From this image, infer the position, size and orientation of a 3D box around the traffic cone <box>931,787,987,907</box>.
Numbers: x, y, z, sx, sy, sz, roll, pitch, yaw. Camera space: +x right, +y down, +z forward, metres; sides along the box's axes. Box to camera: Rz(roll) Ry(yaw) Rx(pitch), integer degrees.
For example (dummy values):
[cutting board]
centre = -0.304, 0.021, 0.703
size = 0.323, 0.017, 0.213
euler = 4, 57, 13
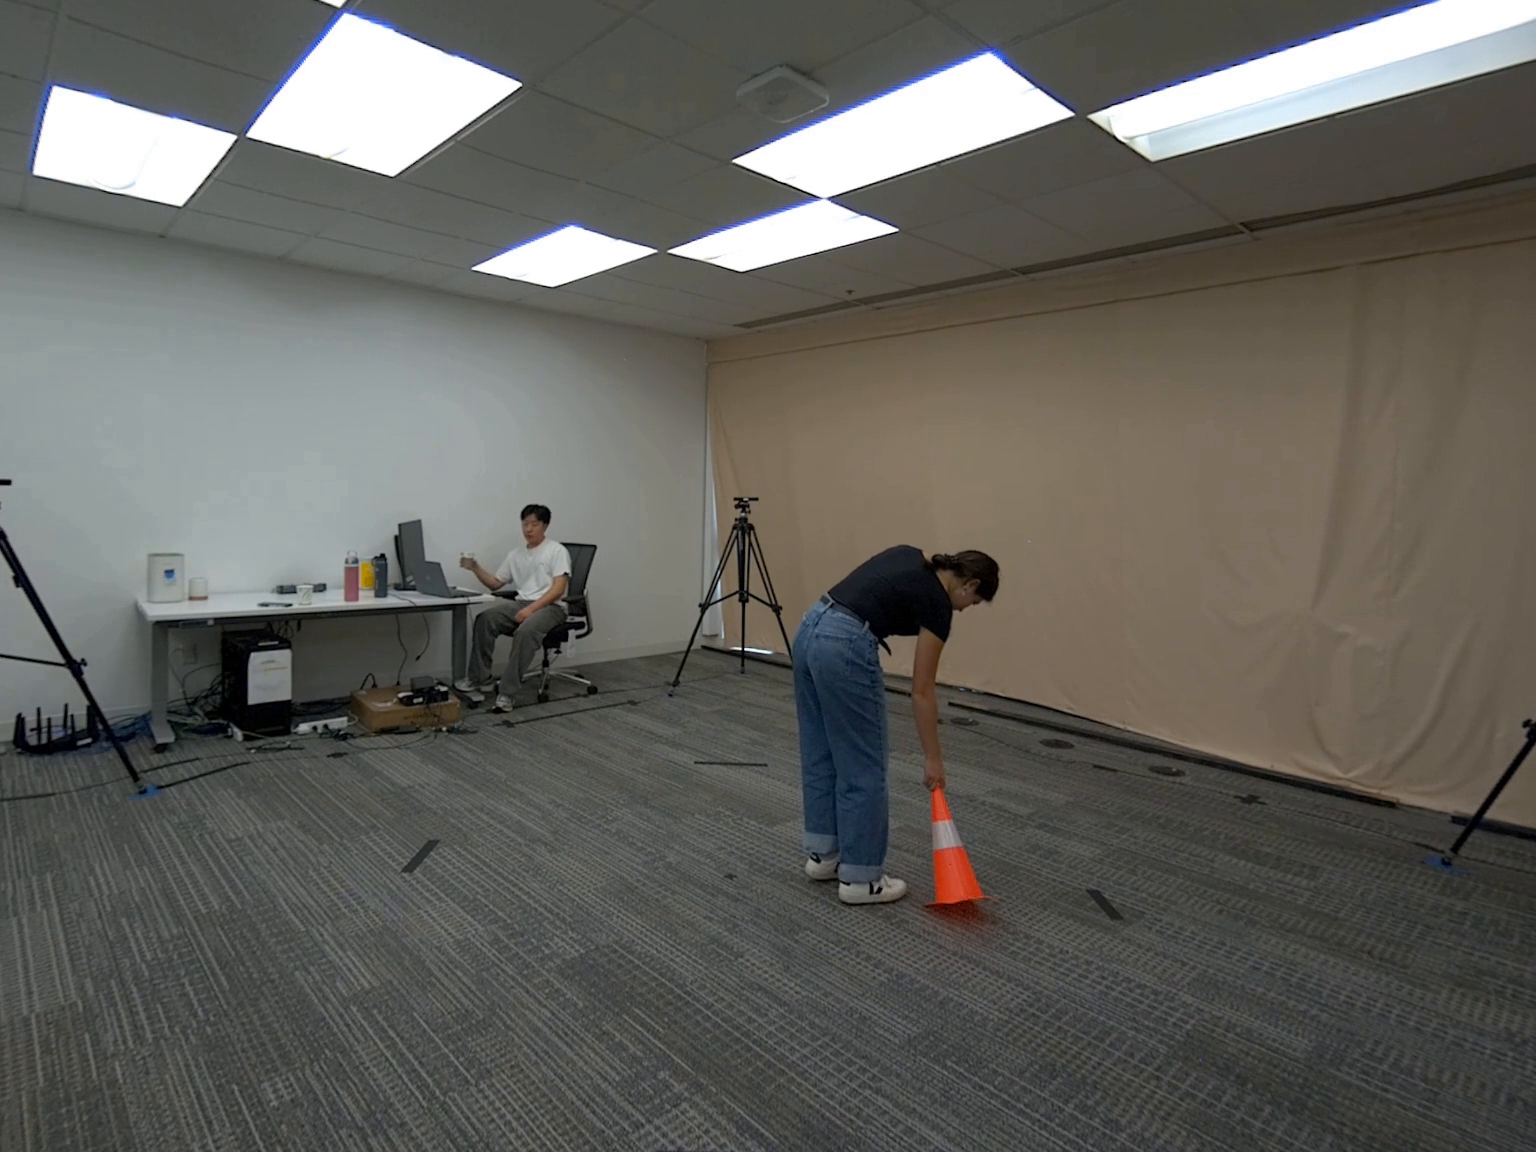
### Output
[traffic cone]
centre = 0.618, 0.937, 2.925
size = 0.201, 0.391, 0.203
euler = -2, -24, -14
